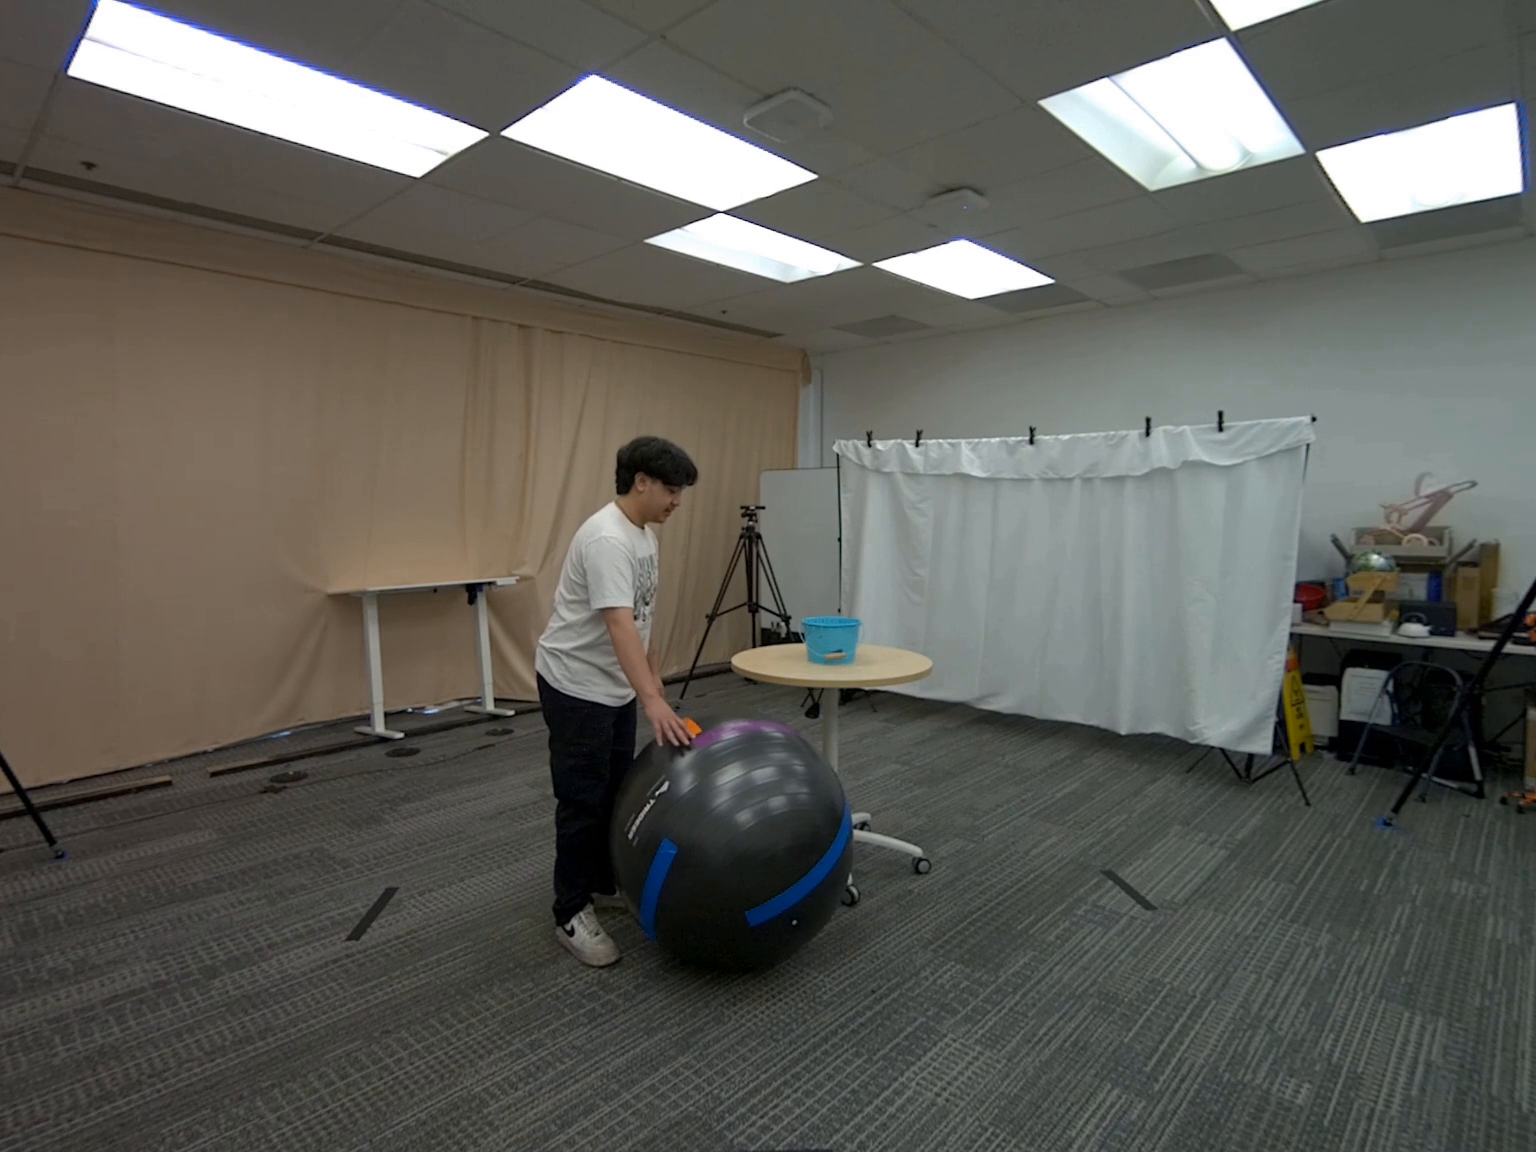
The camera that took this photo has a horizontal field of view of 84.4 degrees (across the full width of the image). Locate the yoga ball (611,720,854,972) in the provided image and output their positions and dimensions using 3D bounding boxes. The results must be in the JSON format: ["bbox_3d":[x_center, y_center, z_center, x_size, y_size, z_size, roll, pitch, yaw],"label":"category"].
[{"bbox_3d":[-0.113,0.809,2.610,0.757,0.756,0.761,0,4,-2],"label":"yoga ball"}]
